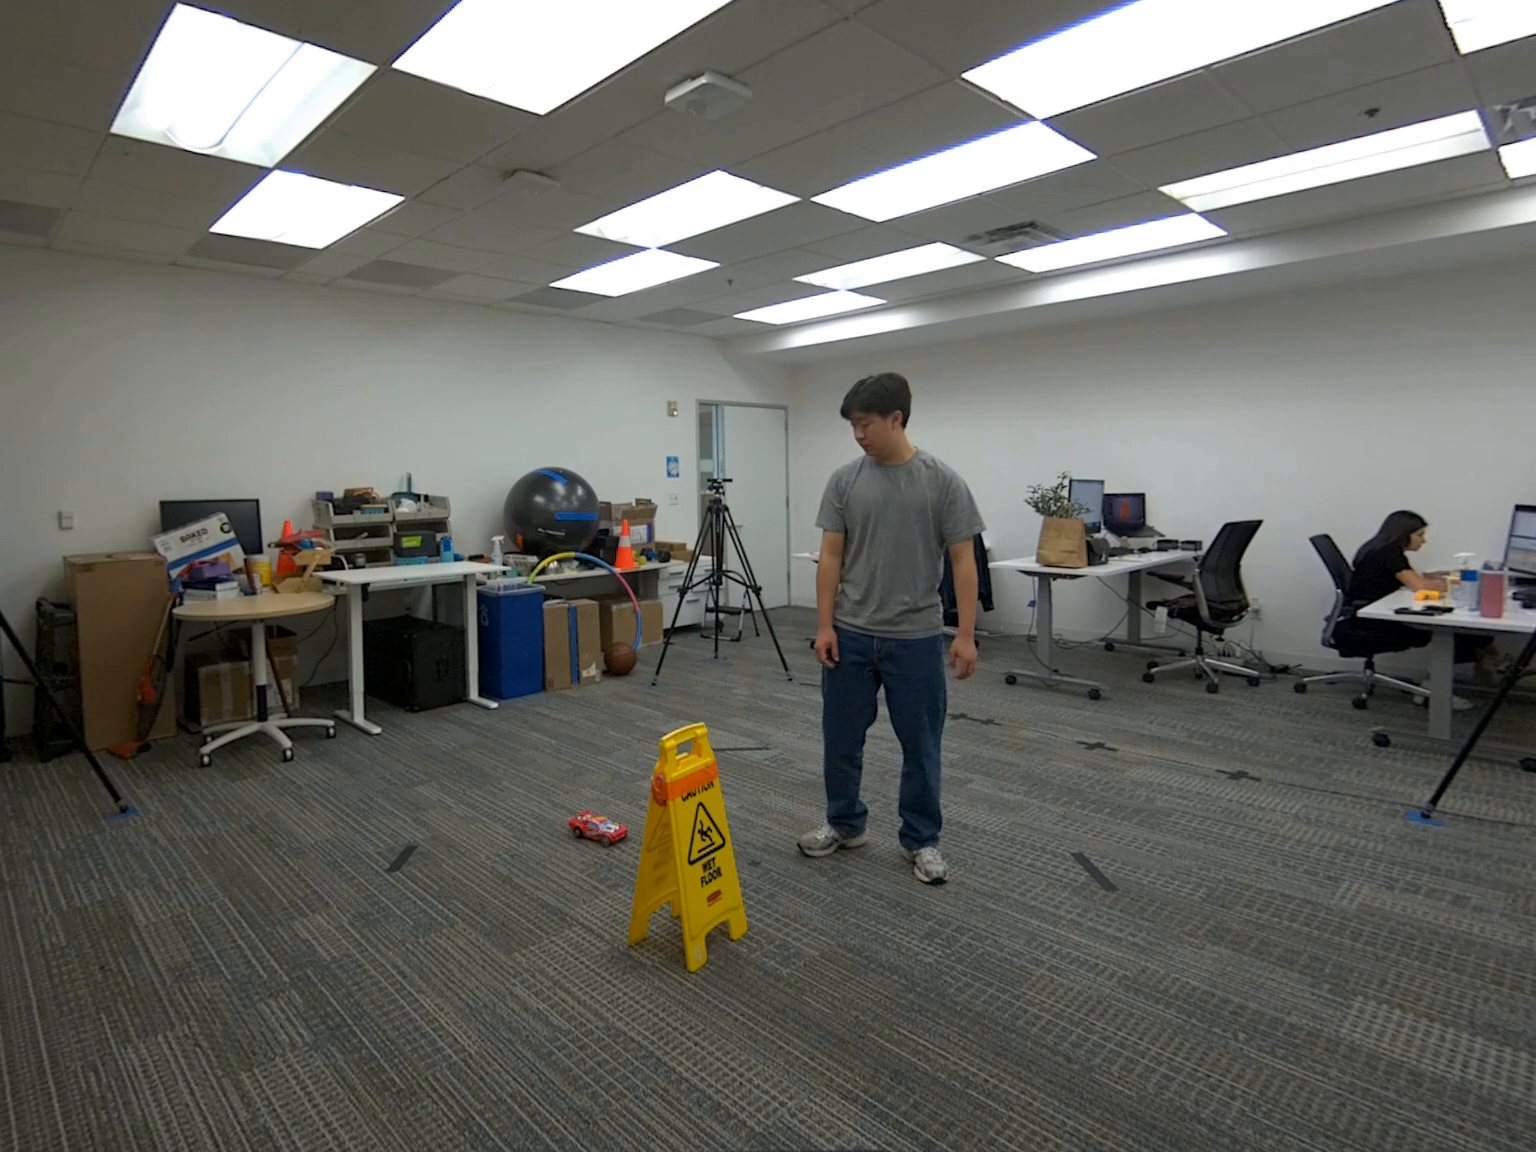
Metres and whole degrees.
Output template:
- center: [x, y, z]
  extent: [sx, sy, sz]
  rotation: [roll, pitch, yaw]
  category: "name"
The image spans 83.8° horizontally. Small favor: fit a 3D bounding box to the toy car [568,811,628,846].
- center: [-0.674, 0.998, 3.367]
  extent: [0.263, 0.082, 0.127]
  rotation: [15, 14, 32]
  category: "toy car"
